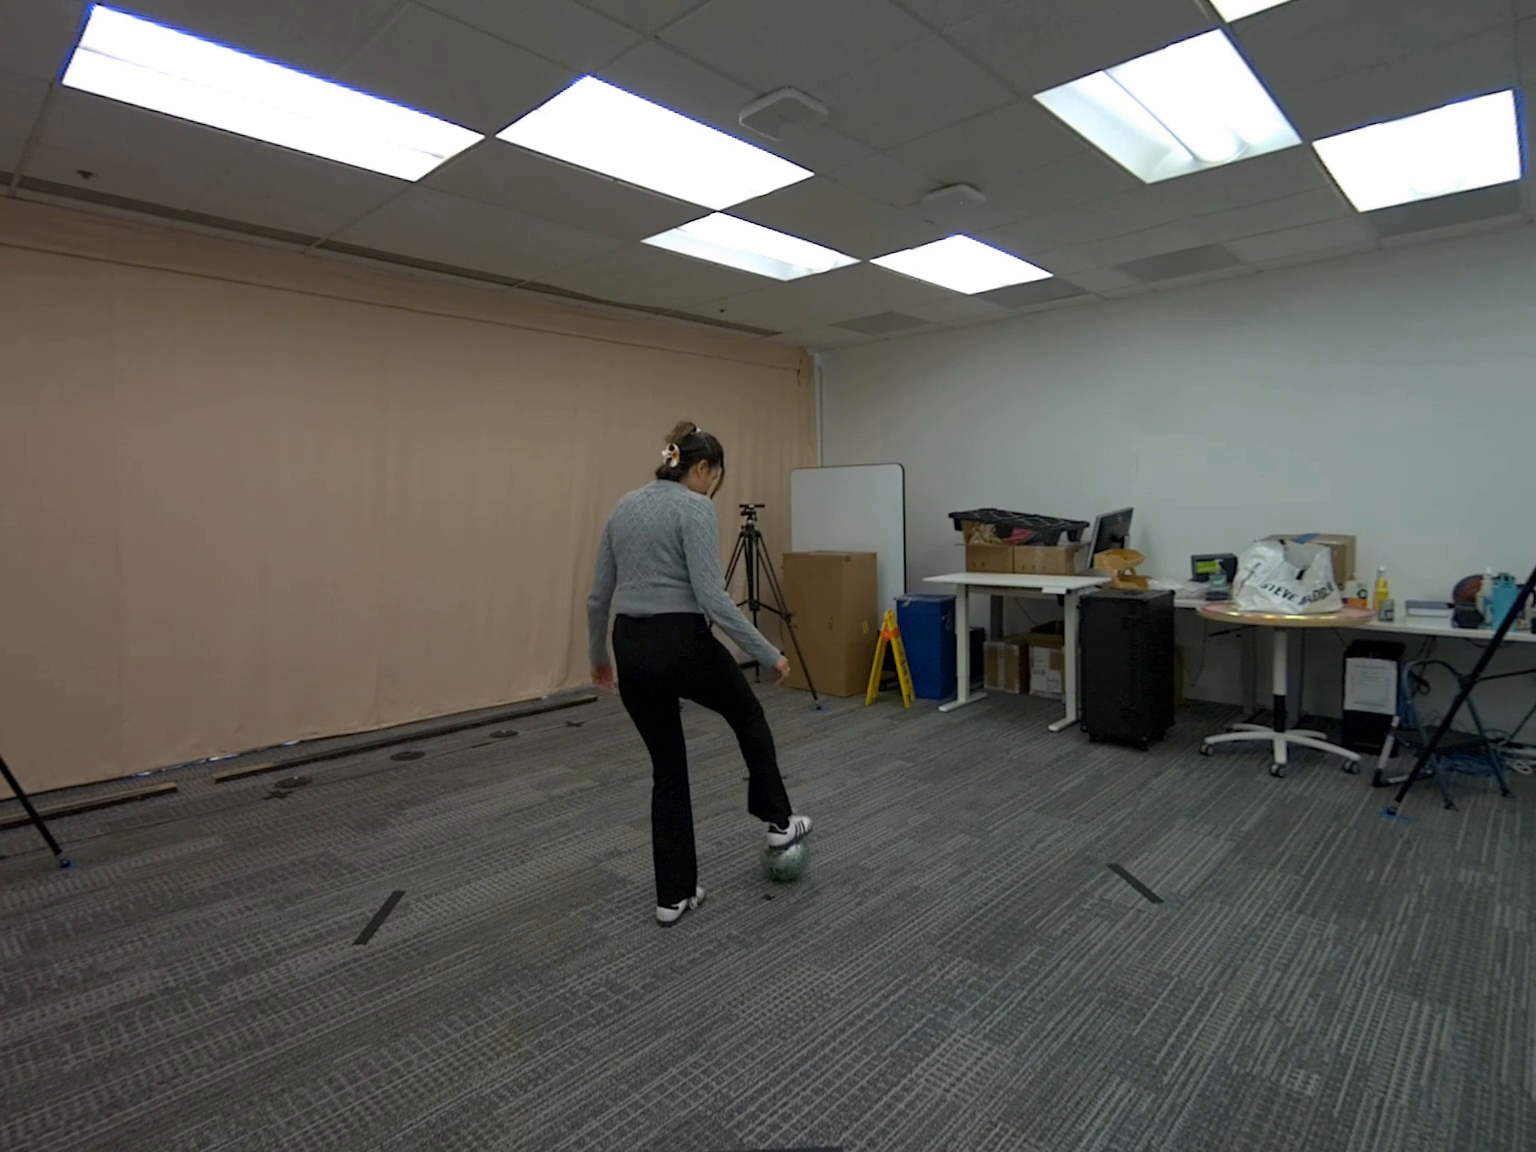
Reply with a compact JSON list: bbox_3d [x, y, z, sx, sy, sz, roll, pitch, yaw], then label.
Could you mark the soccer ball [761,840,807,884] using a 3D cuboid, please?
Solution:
[{"bbox_3d":[0.050,1.029,3.121,0.187,0.187,0.188,-1,4,-2],"label":"soccer ball"}]
